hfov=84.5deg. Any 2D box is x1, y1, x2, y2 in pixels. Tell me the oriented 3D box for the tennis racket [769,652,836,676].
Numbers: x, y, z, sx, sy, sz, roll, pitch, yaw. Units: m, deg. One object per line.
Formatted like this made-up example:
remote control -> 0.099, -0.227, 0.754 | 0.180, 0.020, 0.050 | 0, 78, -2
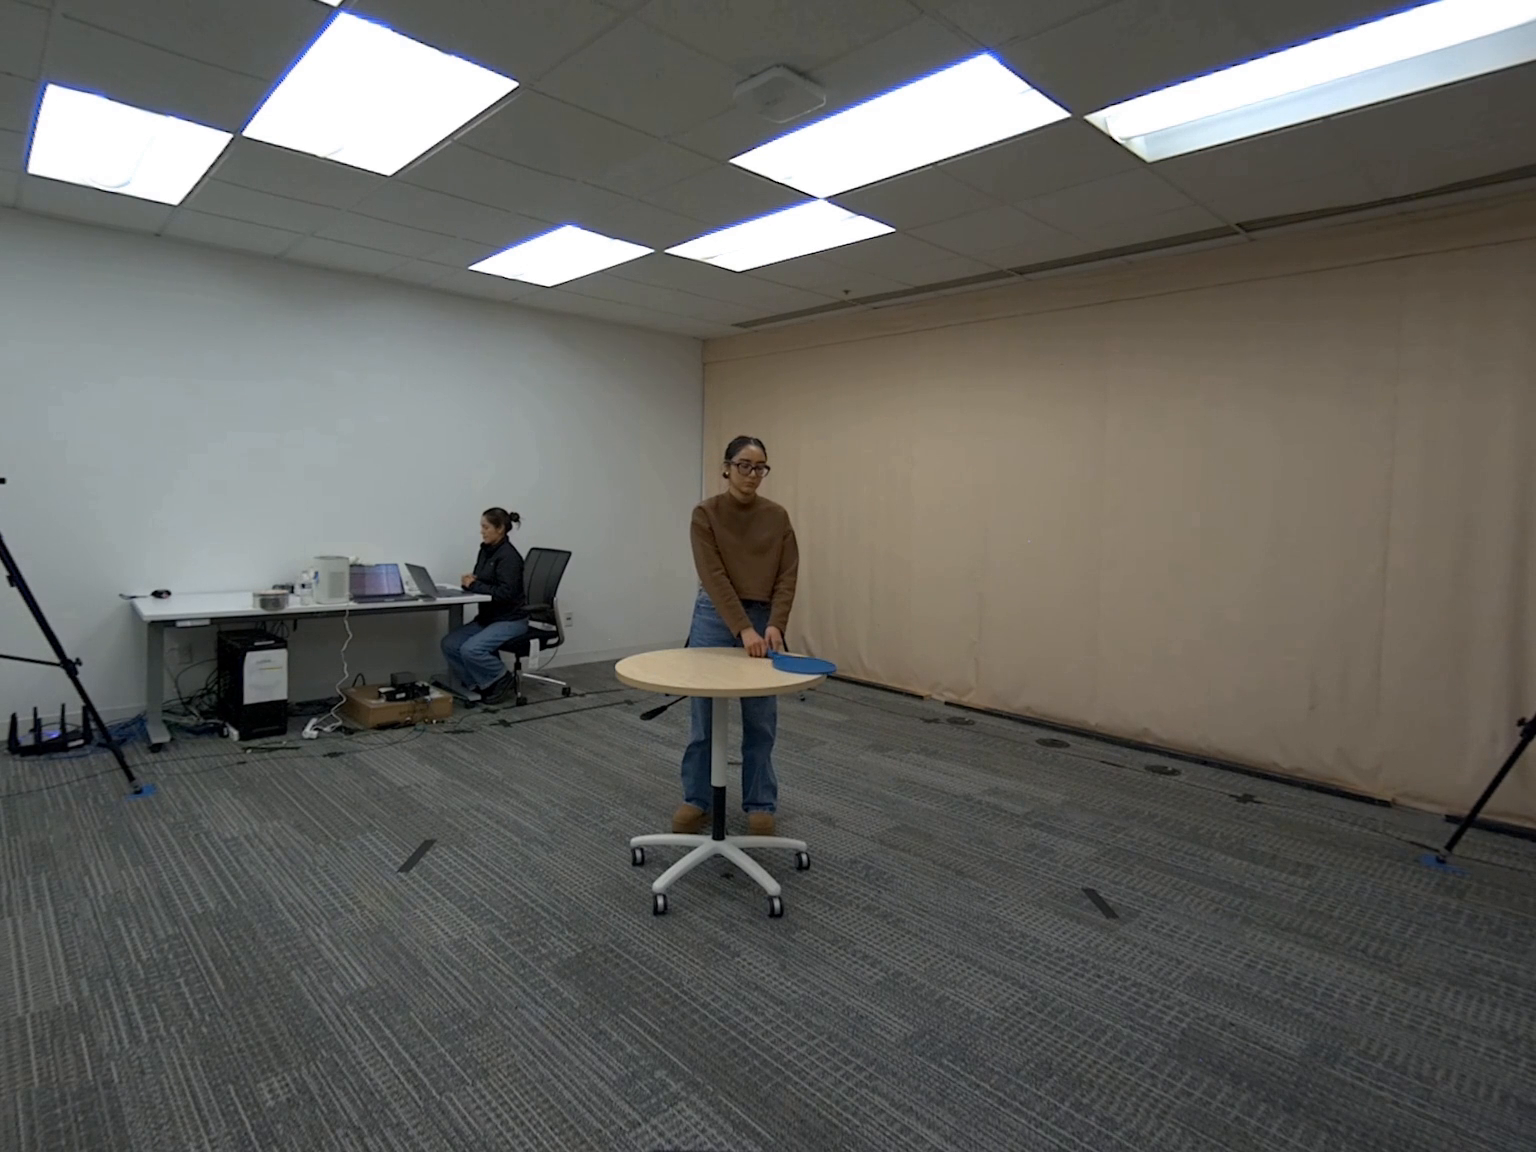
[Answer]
tennis racket -> 0.077, 0.318, 3.117 | 0.210, 0.031, 0.443 | -3, 8, -28
